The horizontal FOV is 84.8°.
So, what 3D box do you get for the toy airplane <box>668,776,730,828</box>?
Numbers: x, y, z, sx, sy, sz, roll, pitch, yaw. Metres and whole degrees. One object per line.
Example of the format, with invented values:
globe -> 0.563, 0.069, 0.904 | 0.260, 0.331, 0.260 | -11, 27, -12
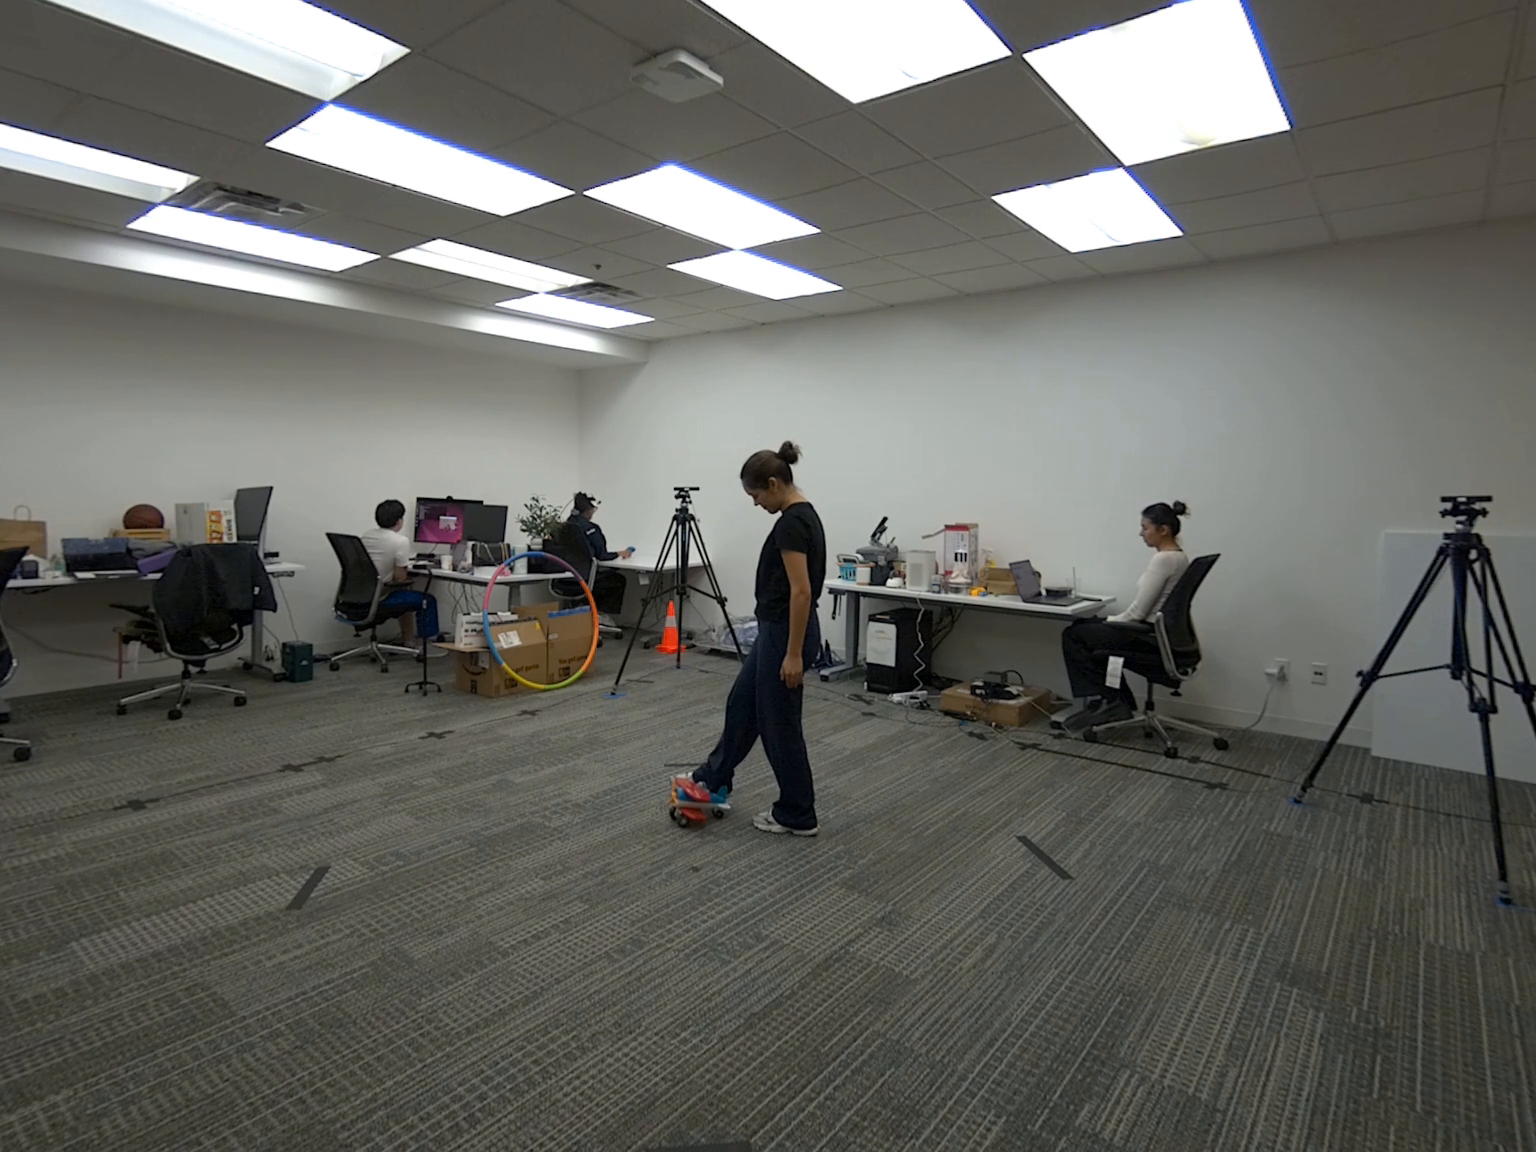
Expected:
toy airplane -> -0.287, 0.943, 3.589 | 0.259, 0.156, 0.252 | 6, 8, 38
